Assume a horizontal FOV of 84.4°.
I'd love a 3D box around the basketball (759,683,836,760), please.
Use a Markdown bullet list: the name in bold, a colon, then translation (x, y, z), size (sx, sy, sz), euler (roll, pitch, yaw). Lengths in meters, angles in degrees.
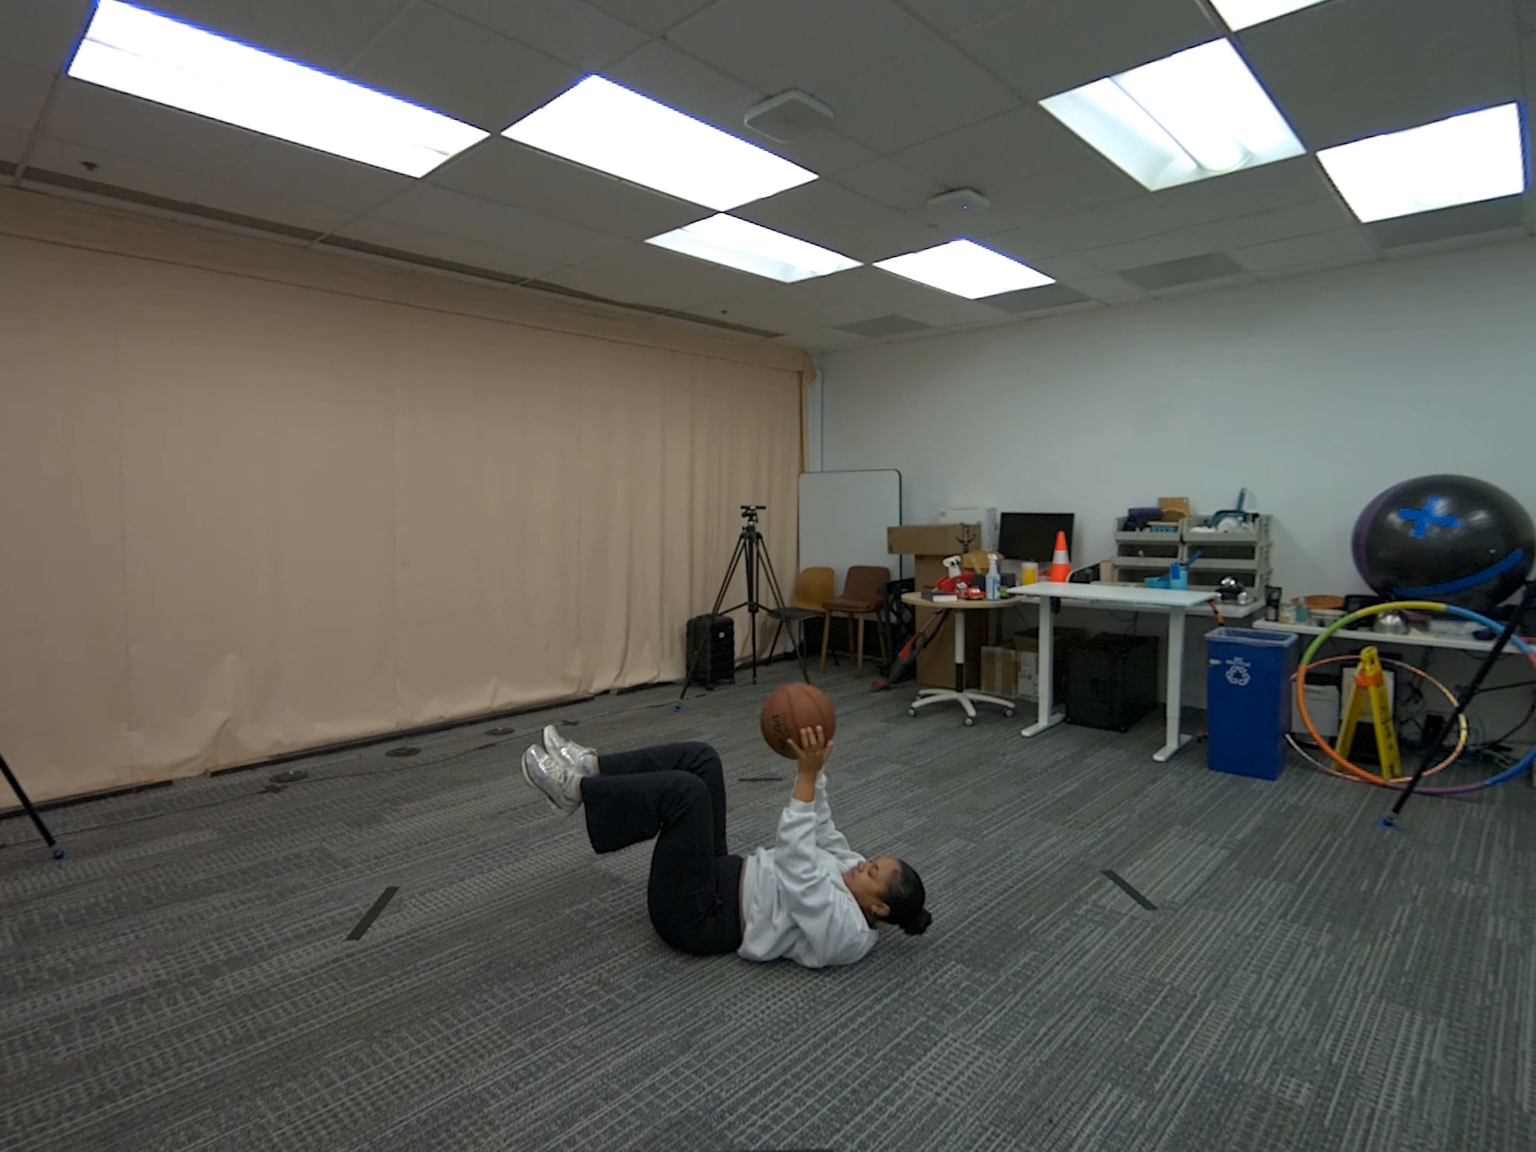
- **basketball**: translation (0.099, 0.467, 2.650), size (0.235, 0.235, 0.237), euler (1, 4, -2)
